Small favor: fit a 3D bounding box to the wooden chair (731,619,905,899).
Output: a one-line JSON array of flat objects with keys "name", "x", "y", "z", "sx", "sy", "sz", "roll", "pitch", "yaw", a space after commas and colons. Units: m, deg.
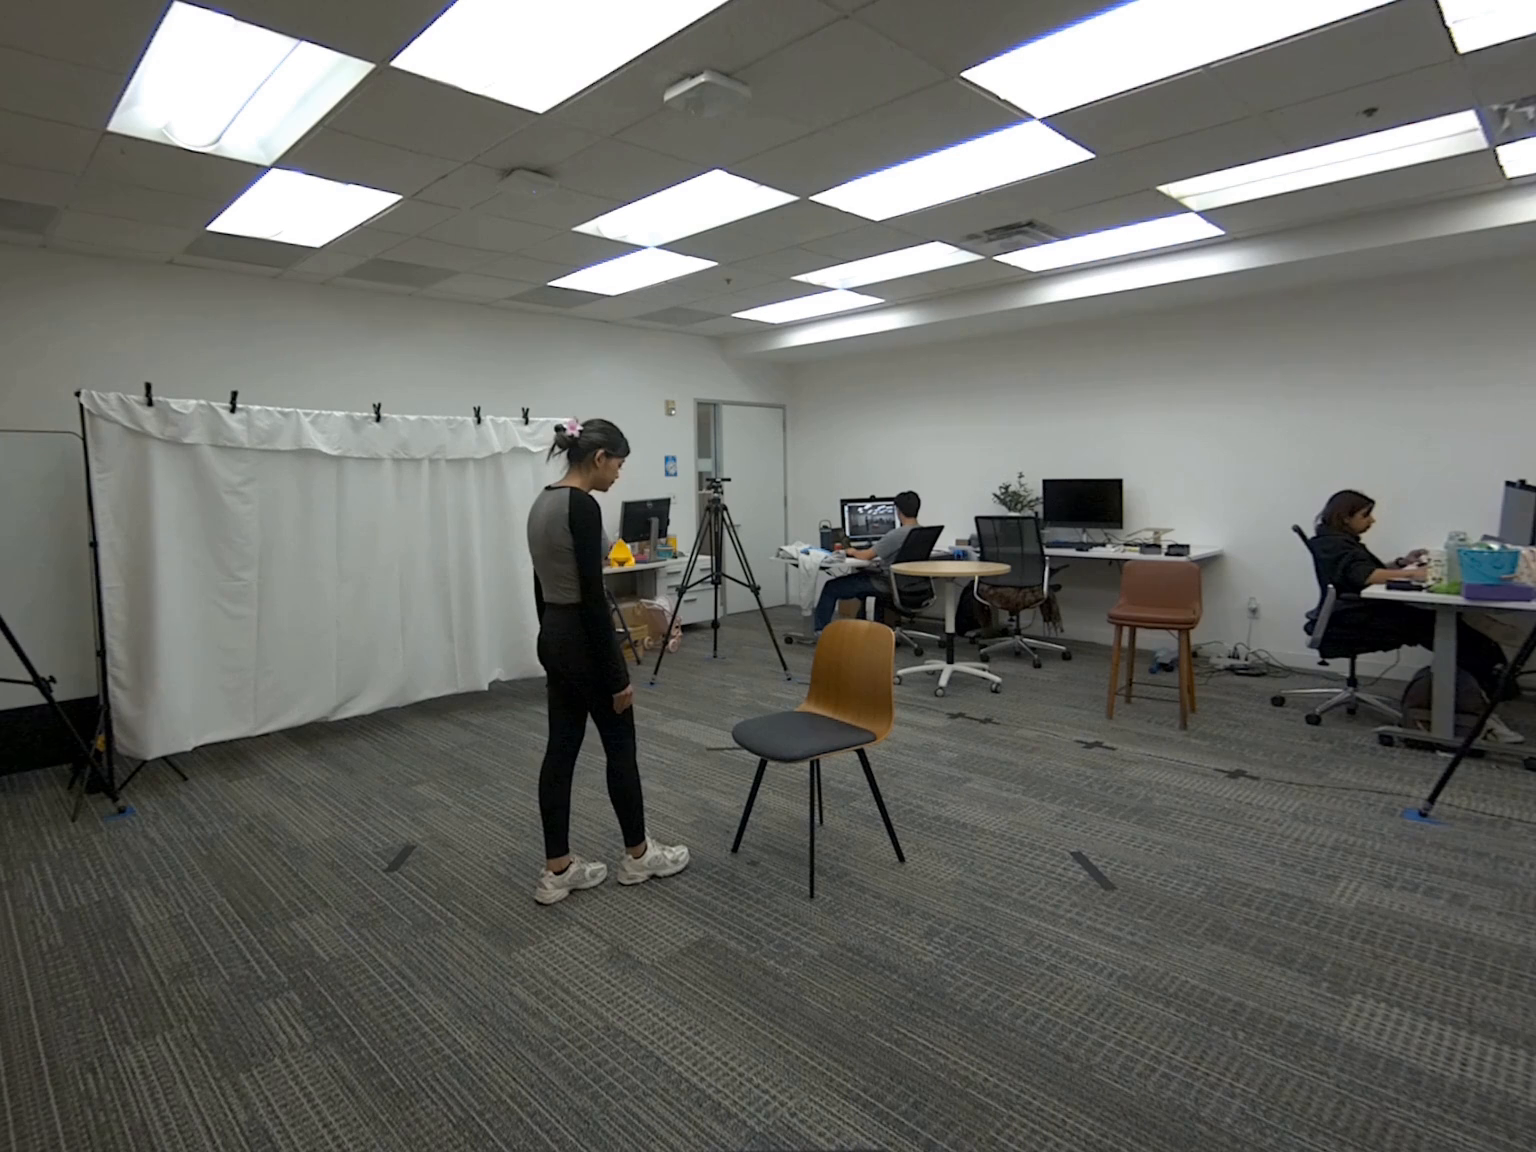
[{"name": "wooden chair", "x": 0.172, "y": 0.611, "z": 3.102, "sx": 0.508, "sy": 0.876, "sz": 0.492, "roll": 1, "pitch": 3, "yaw": -37}]
